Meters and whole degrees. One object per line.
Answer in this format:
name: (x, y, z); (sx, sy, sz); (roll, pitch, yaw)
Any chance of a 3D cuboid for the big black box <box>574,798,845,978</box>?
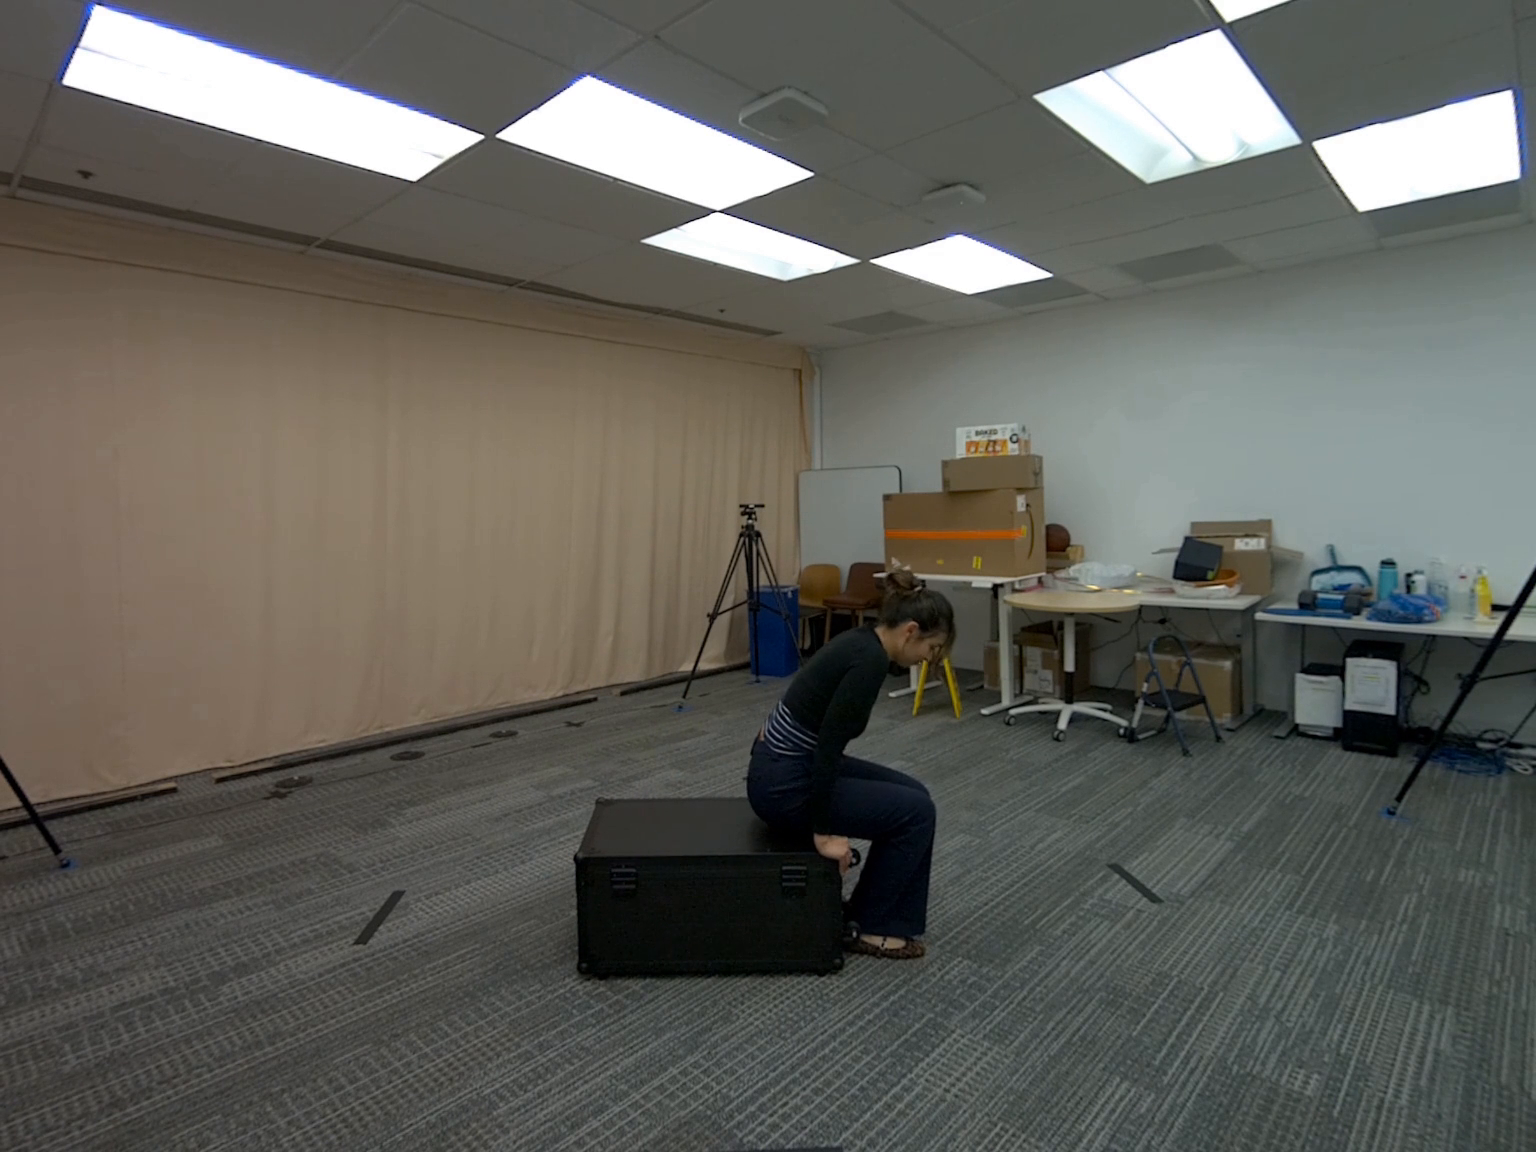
big black box: (-0.157, 0.976, 2.698); (0.861, 0.395, 0.523); (-1, 4, -1)
